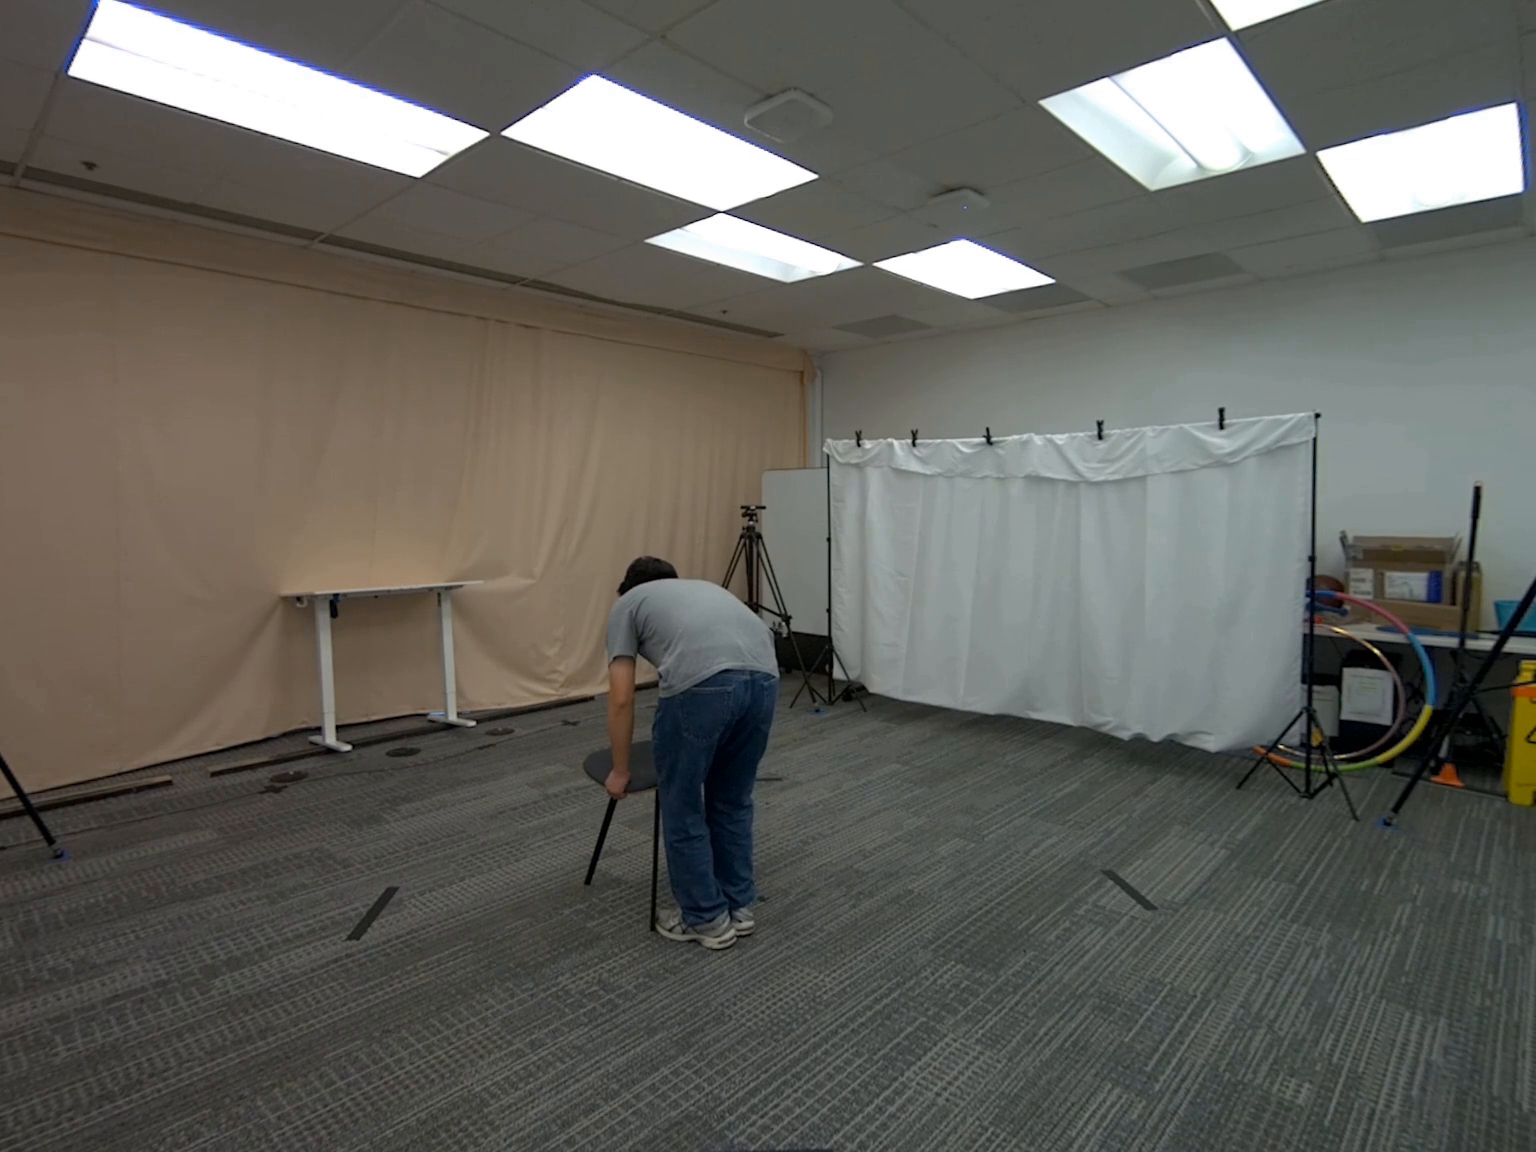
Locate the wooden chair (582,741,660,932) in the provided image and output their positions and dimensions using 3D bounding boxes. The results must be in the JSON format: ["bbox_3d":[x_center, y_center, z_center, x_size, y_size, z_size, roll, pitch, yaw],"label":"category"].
[{"bbox_3d":[-0.372,0.715,3.038,0.506,0.877,0.494,2,1,-40],"label":"wooden chair"}]
